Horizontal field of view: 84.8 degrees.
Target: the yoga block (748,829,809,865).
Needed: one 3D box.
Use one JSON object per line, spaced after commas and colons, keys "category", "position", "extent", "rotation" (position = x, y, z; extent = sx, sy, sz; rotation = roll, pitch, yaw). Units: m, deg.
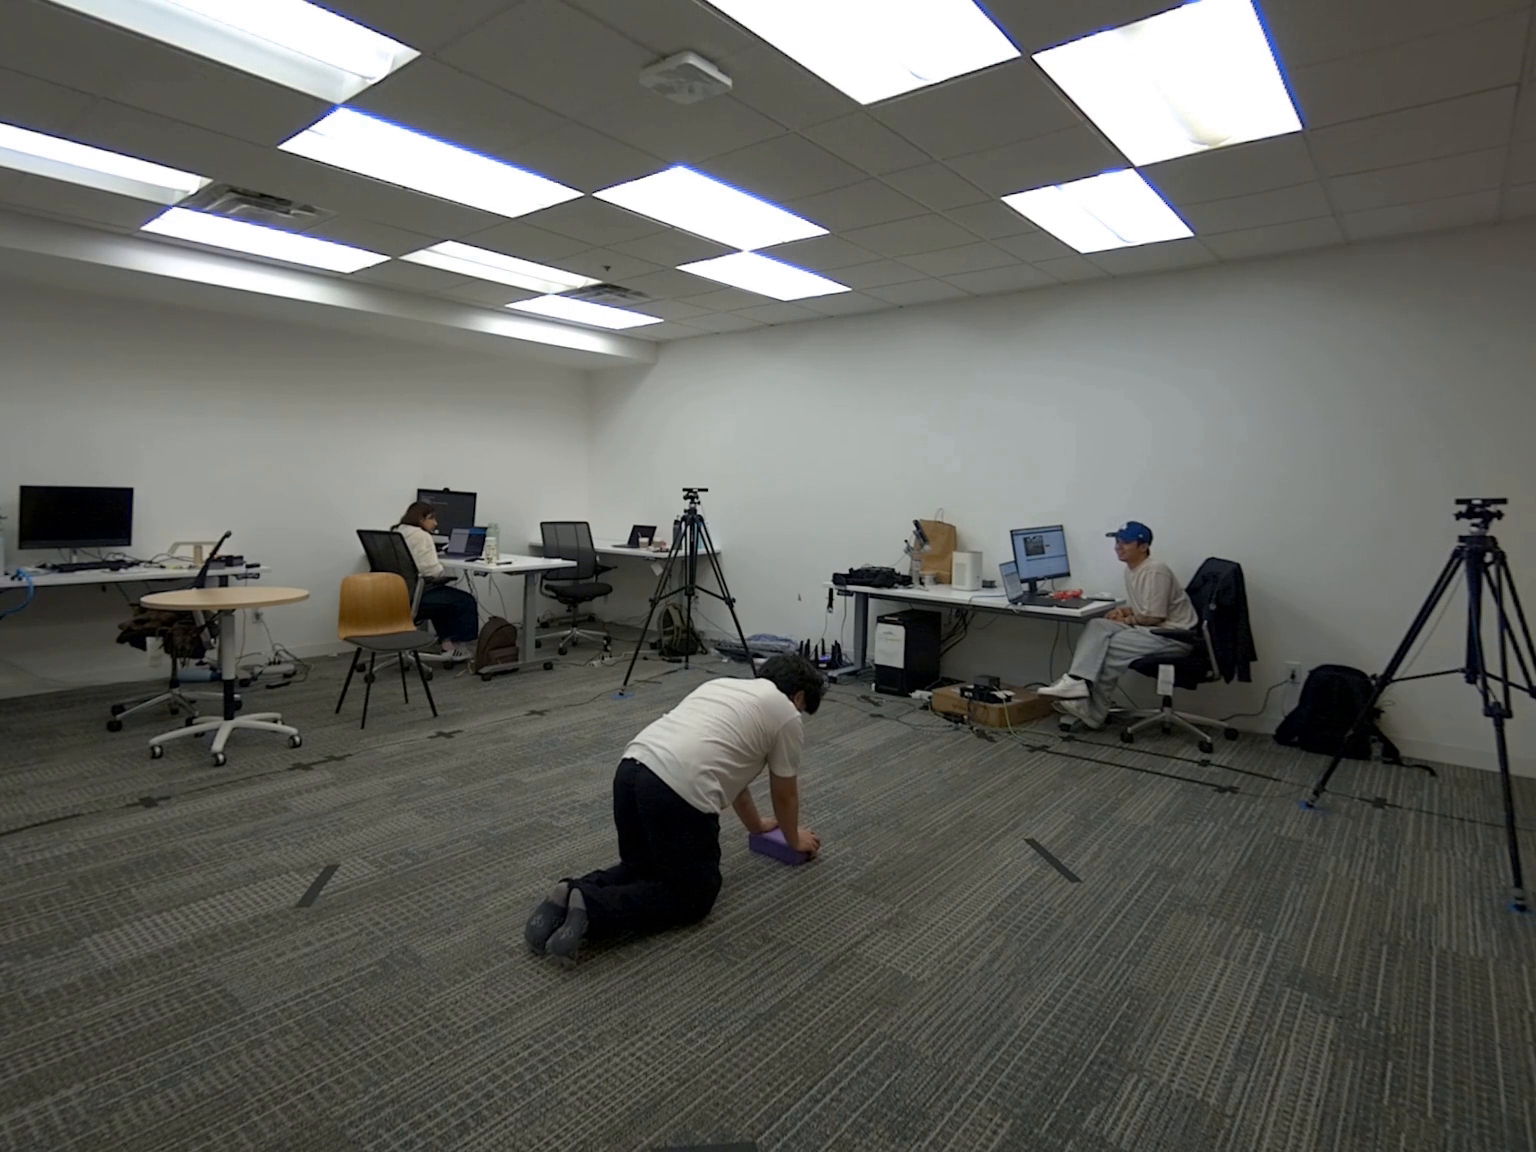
{"category": "yoga block", "position": [0.047, 1.023, 3.274], "extent": [0.237, 0.076, 0.144], "rotation": [6, 7, 39]}
